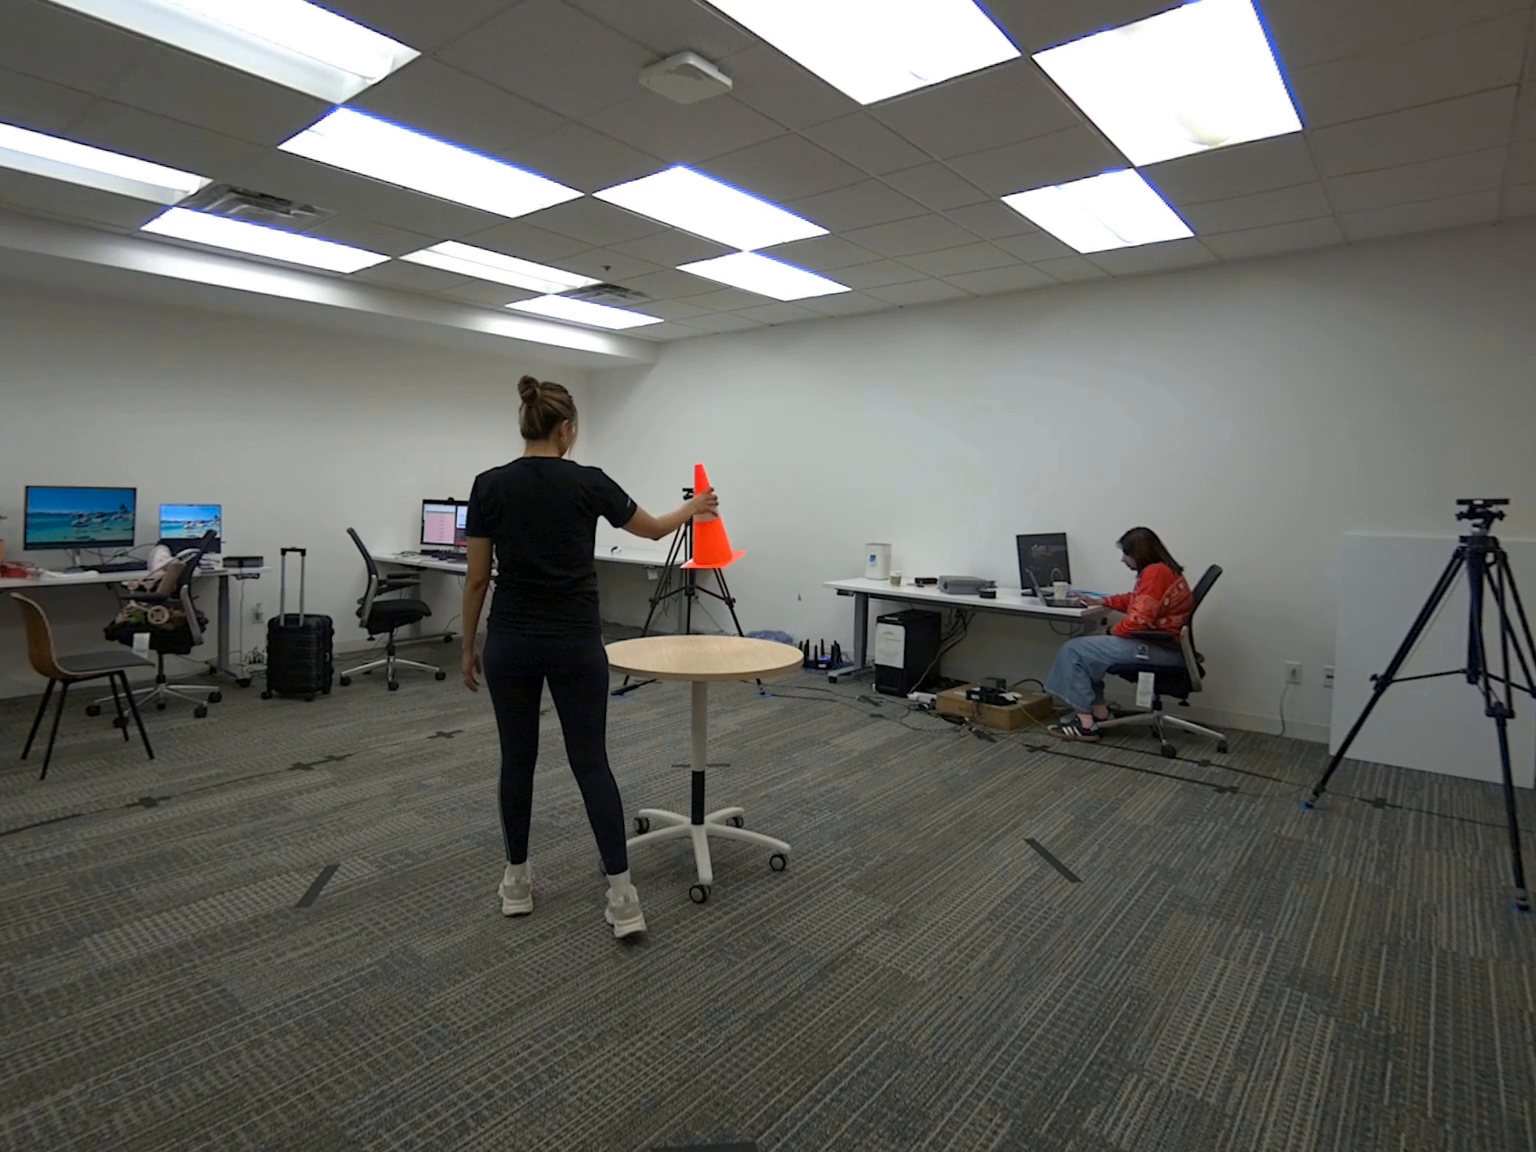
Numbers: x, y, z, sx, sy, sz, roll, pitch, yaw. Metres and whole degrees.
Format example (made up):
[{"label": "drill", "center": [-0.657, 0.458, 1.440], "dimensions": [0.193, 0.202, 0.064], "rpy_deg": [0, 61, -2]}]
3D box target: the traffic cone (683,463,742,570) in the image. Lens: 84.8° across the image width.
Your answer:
[{"label": "traffic cone", "center": [-0.254, -0.241, 3.236], "dimensions": [0.208, 0.378, 0.204], "rpy_deg": [-2, 16, 22]}]
